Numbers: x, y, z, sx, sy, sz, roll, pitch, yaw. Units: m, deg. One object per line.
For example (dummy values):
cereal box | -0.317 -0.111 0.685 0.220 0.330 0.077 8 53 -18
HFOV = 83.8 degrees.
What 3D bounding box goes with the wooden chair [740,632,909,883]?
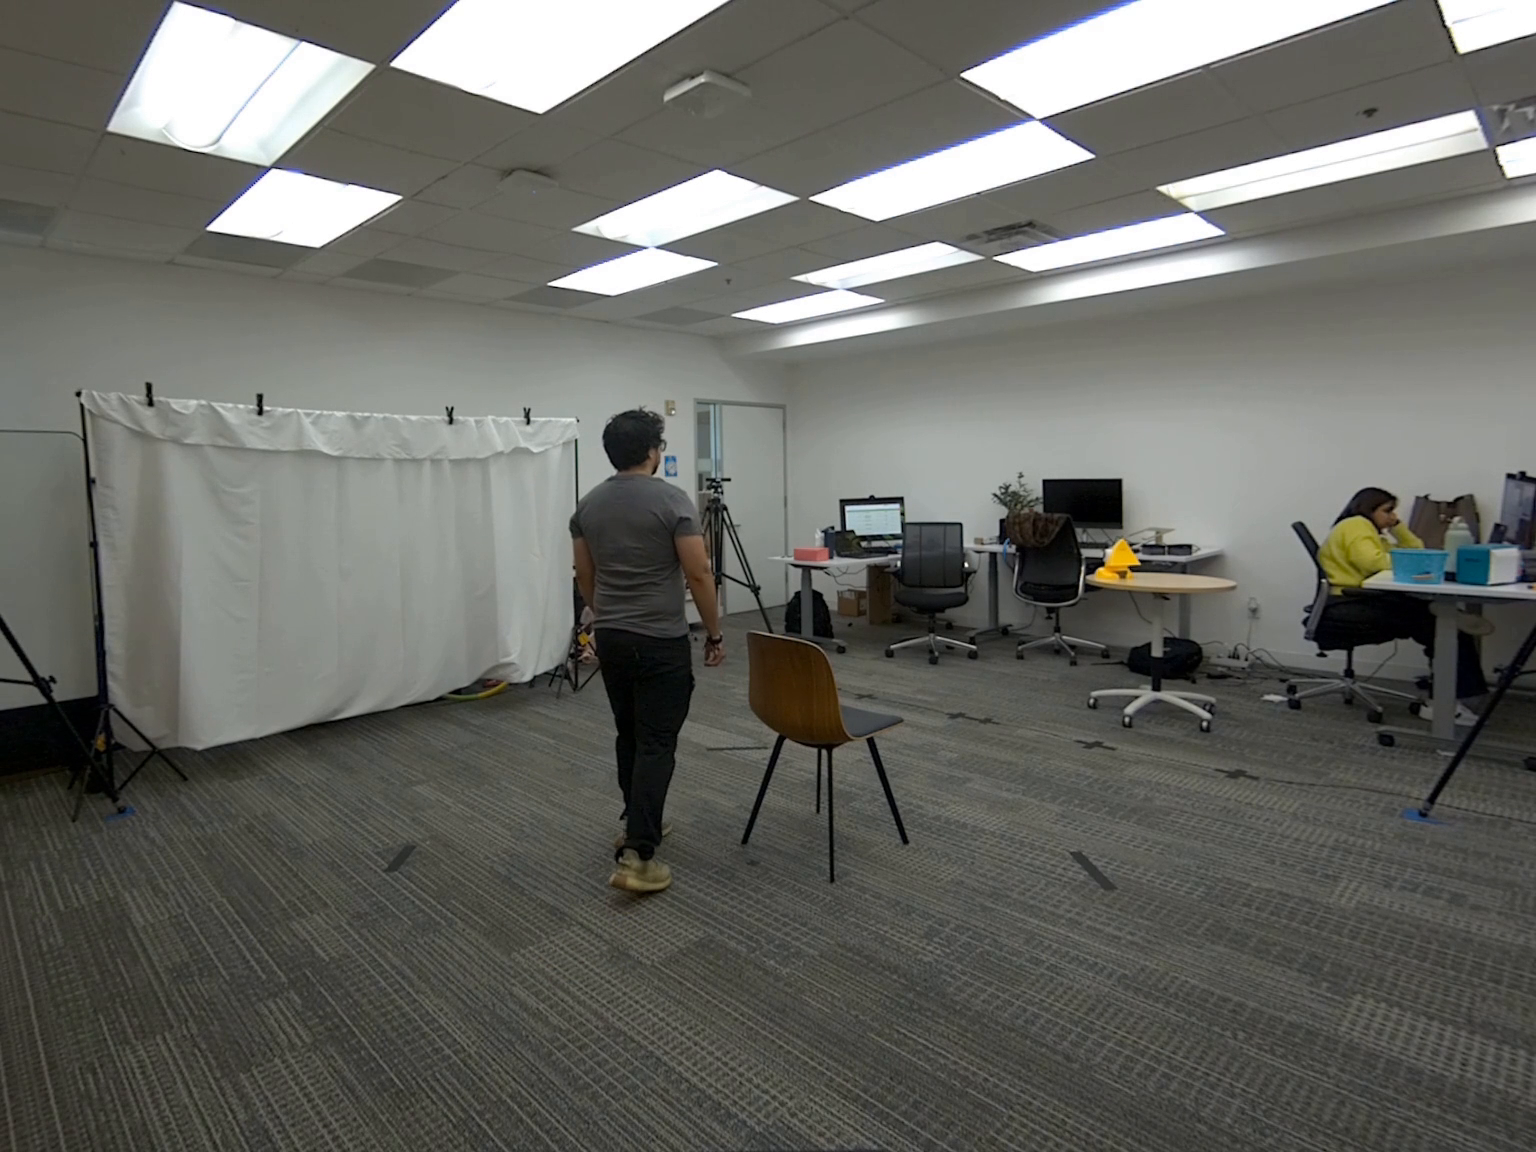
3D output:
wooden chair | 0.214 0.594 3.225 0.493 0.871 0.511 4 11 45
